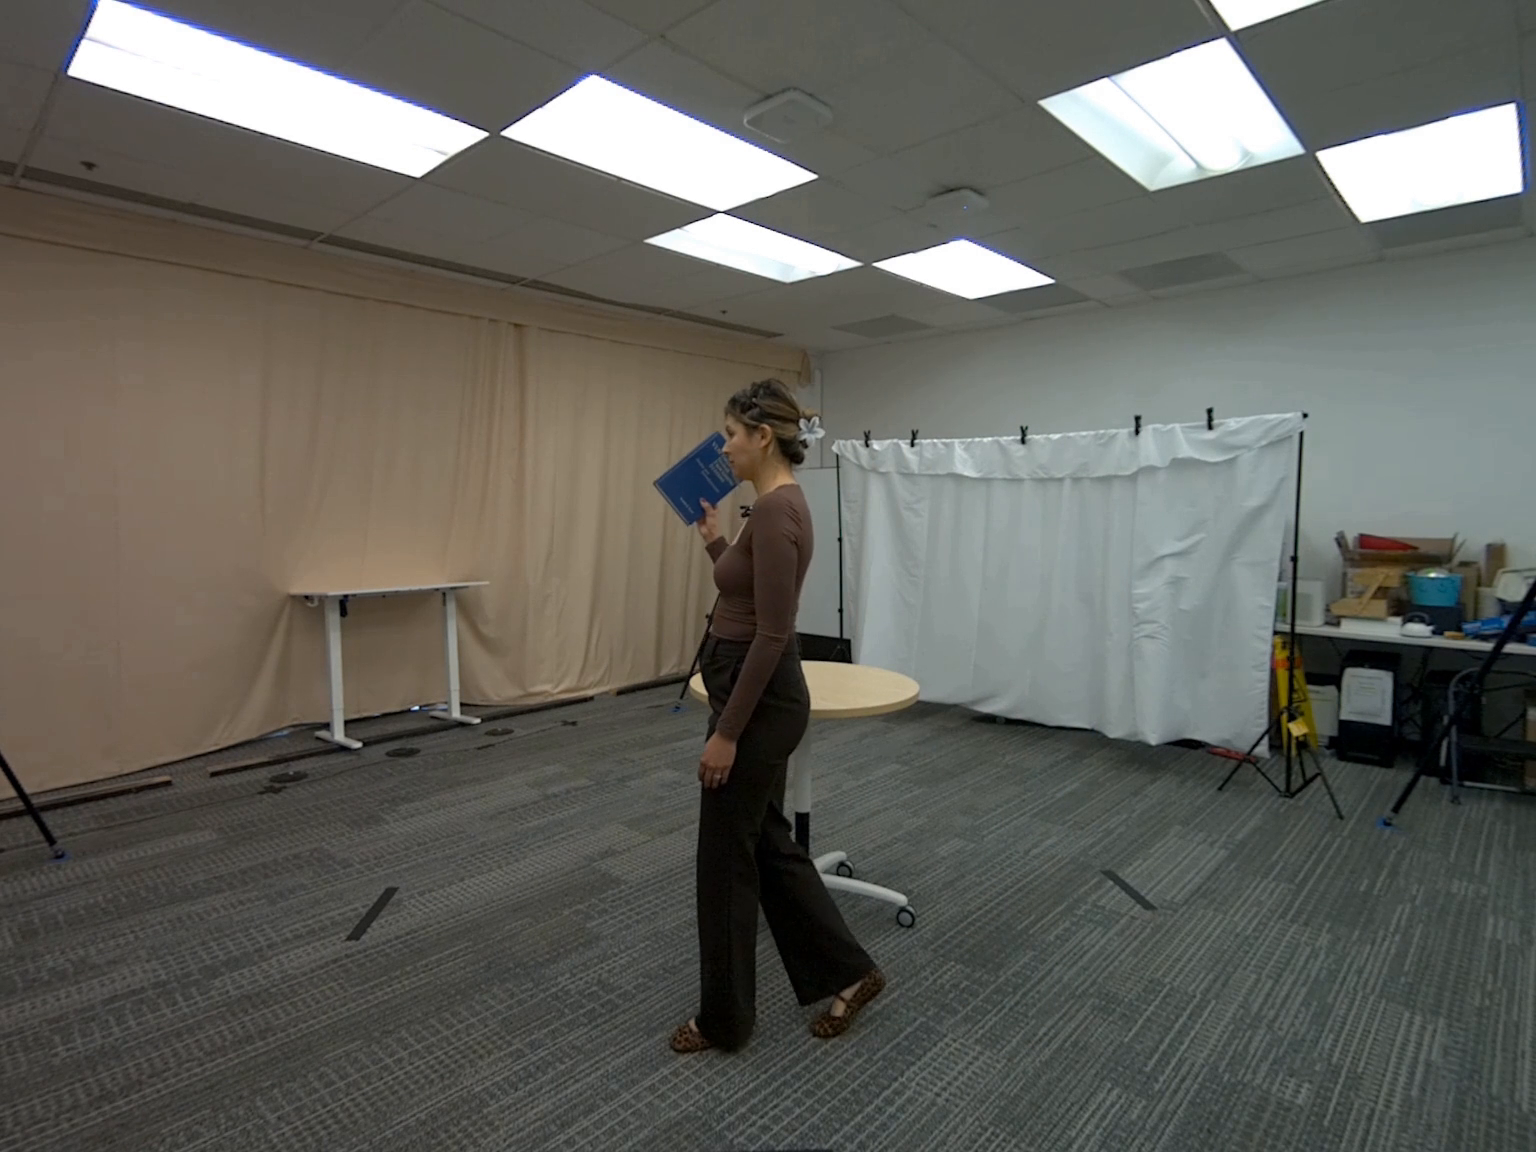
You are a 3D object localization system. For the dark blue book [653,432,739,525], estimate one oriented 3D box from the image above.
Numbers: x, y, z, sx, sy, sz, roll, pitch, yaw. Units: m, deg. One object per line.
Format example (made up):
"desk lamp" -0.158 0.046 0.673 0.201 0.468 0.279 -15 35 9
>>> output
"dark blue book" -0.191 -0.284 2.444 0.244 0.162 0.045 -41 5 -13
